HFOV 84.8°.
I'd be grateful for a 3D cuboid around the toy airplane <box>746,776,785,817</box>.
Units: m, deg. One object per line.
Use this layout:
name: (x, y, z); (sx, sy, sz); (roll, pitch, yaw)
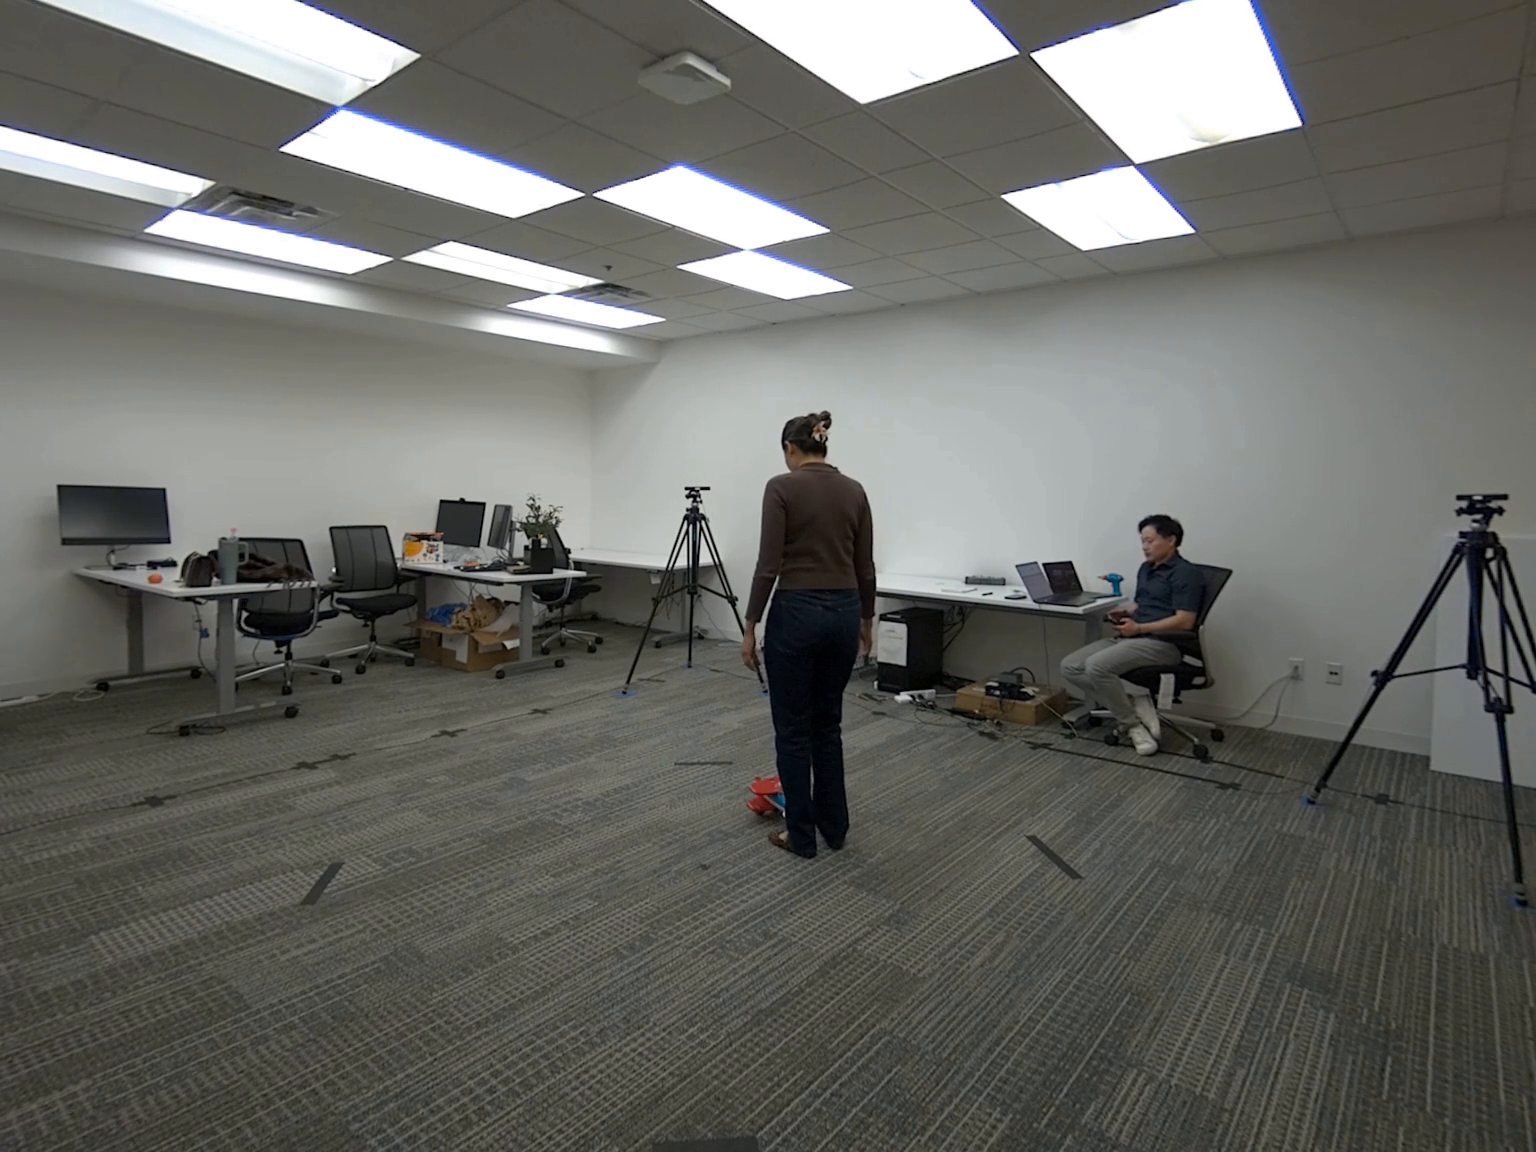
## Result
toy airplane: (0.049, 0.946, 3.607); (0.266, 0.156, 0.245); (3, 4, 26)
